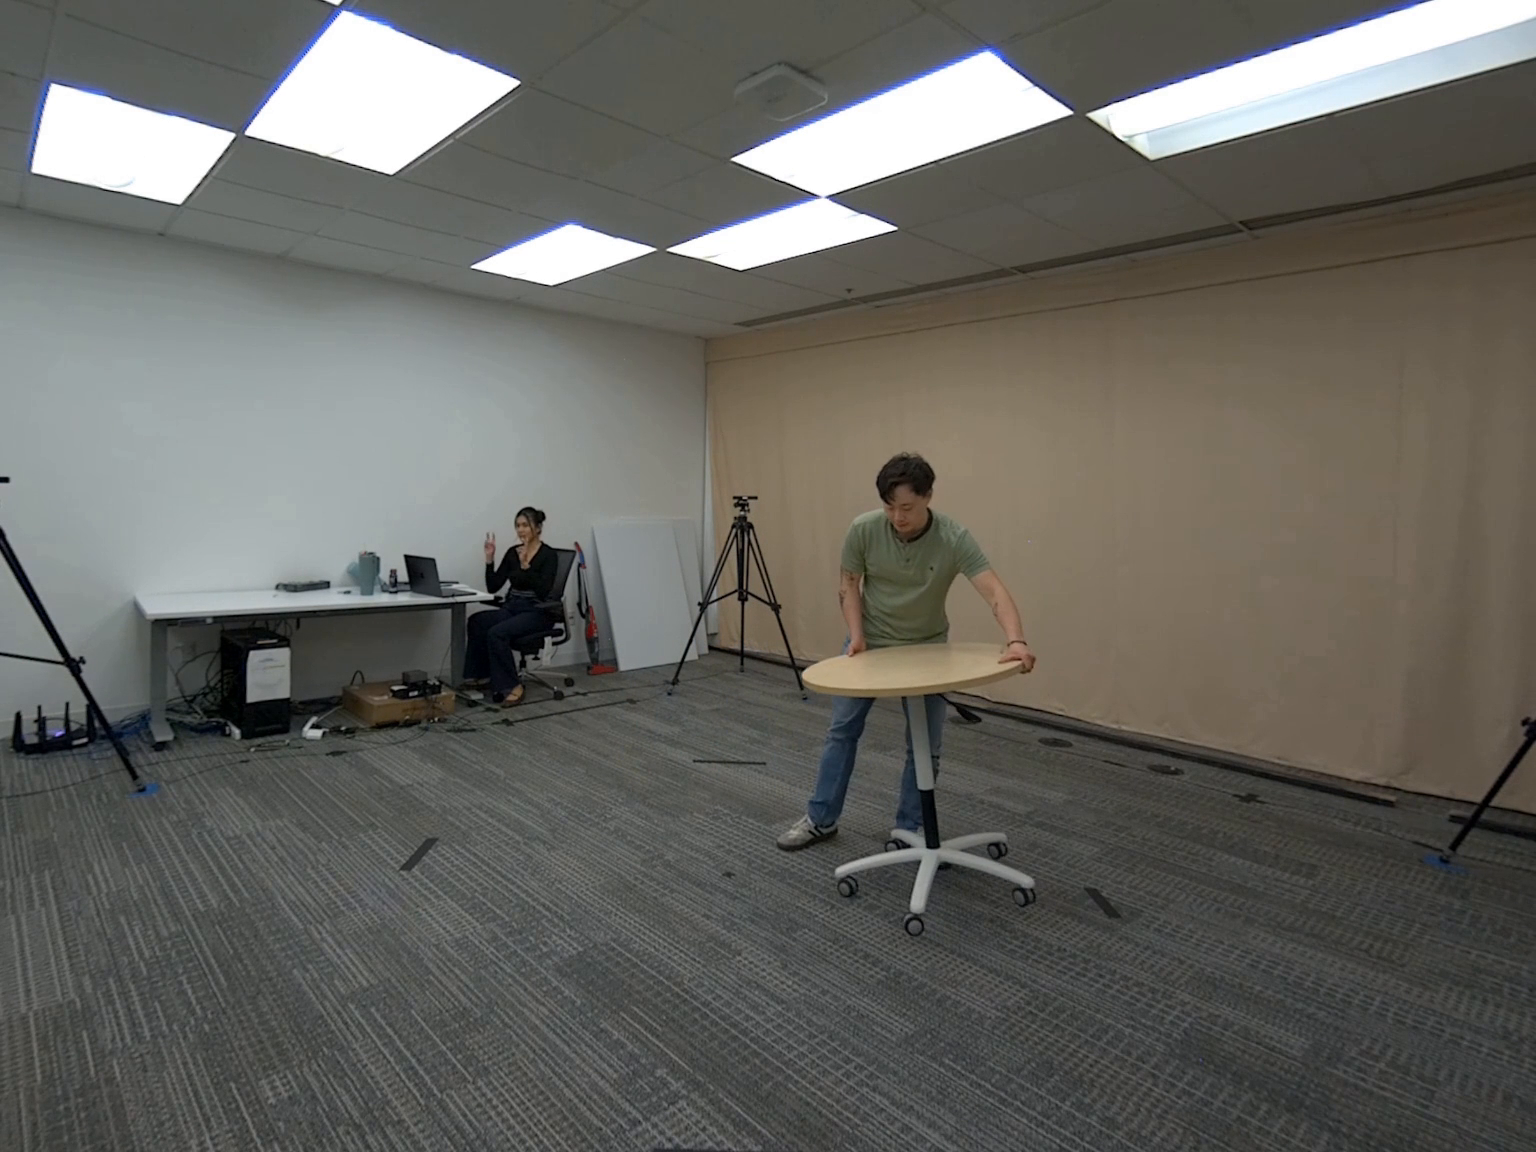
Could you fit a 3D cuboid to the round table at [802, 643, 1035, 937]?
[{"bbox_3d":[0.542,0.700,2.938,0.764,0.793,0.765,-7,2,-1],"label":"round table"}]
